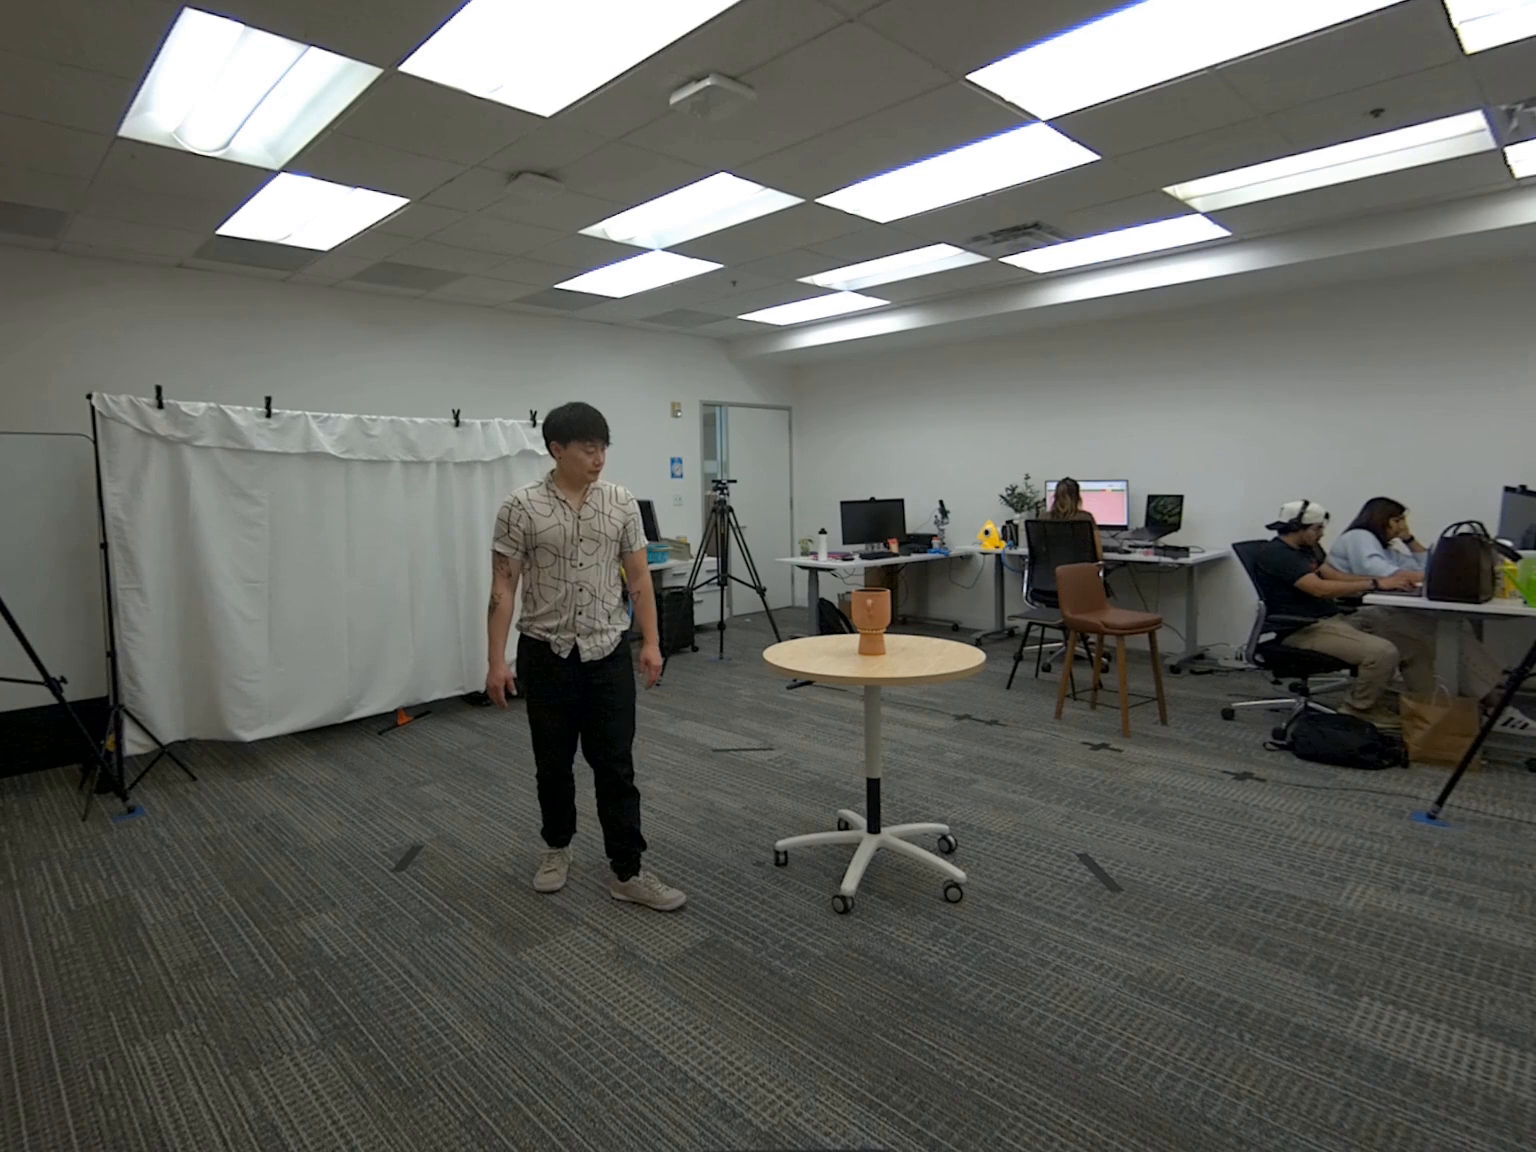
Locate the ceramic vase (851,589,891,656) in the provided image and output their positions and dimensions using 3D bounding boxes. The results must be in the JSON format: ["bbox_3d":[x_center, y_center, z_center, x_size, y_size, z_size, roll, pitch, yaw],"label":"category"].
[{"bbox_3d":[0.359,0.160,2.995,0.155,0.219,0.138,-4,4,-38],"label":"ceramic vase"}]
